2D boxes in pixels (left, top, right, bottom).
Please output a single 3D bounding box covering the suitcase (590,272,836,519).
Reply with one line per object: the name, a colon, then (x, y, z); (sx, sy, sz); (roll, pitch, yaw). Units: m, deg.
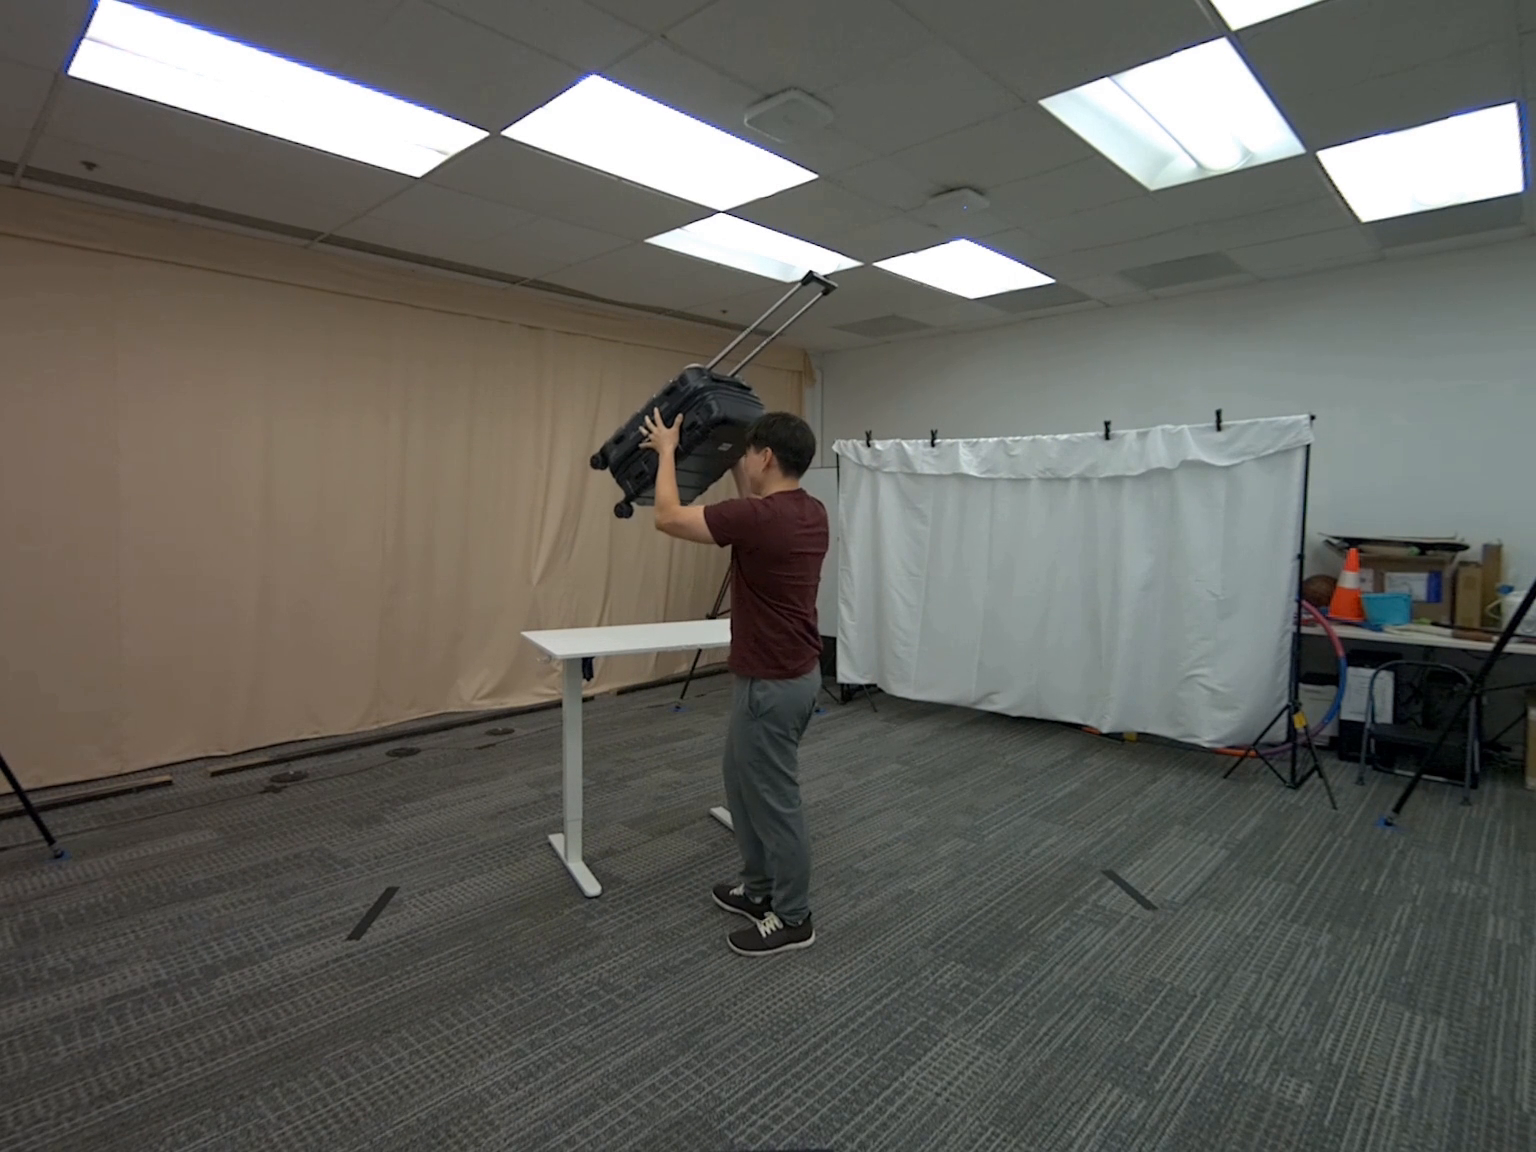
suitcase: (-0.136, -0.560, 2.769); (0.991, 0.261, 0.373); (-36, -18, 29)
